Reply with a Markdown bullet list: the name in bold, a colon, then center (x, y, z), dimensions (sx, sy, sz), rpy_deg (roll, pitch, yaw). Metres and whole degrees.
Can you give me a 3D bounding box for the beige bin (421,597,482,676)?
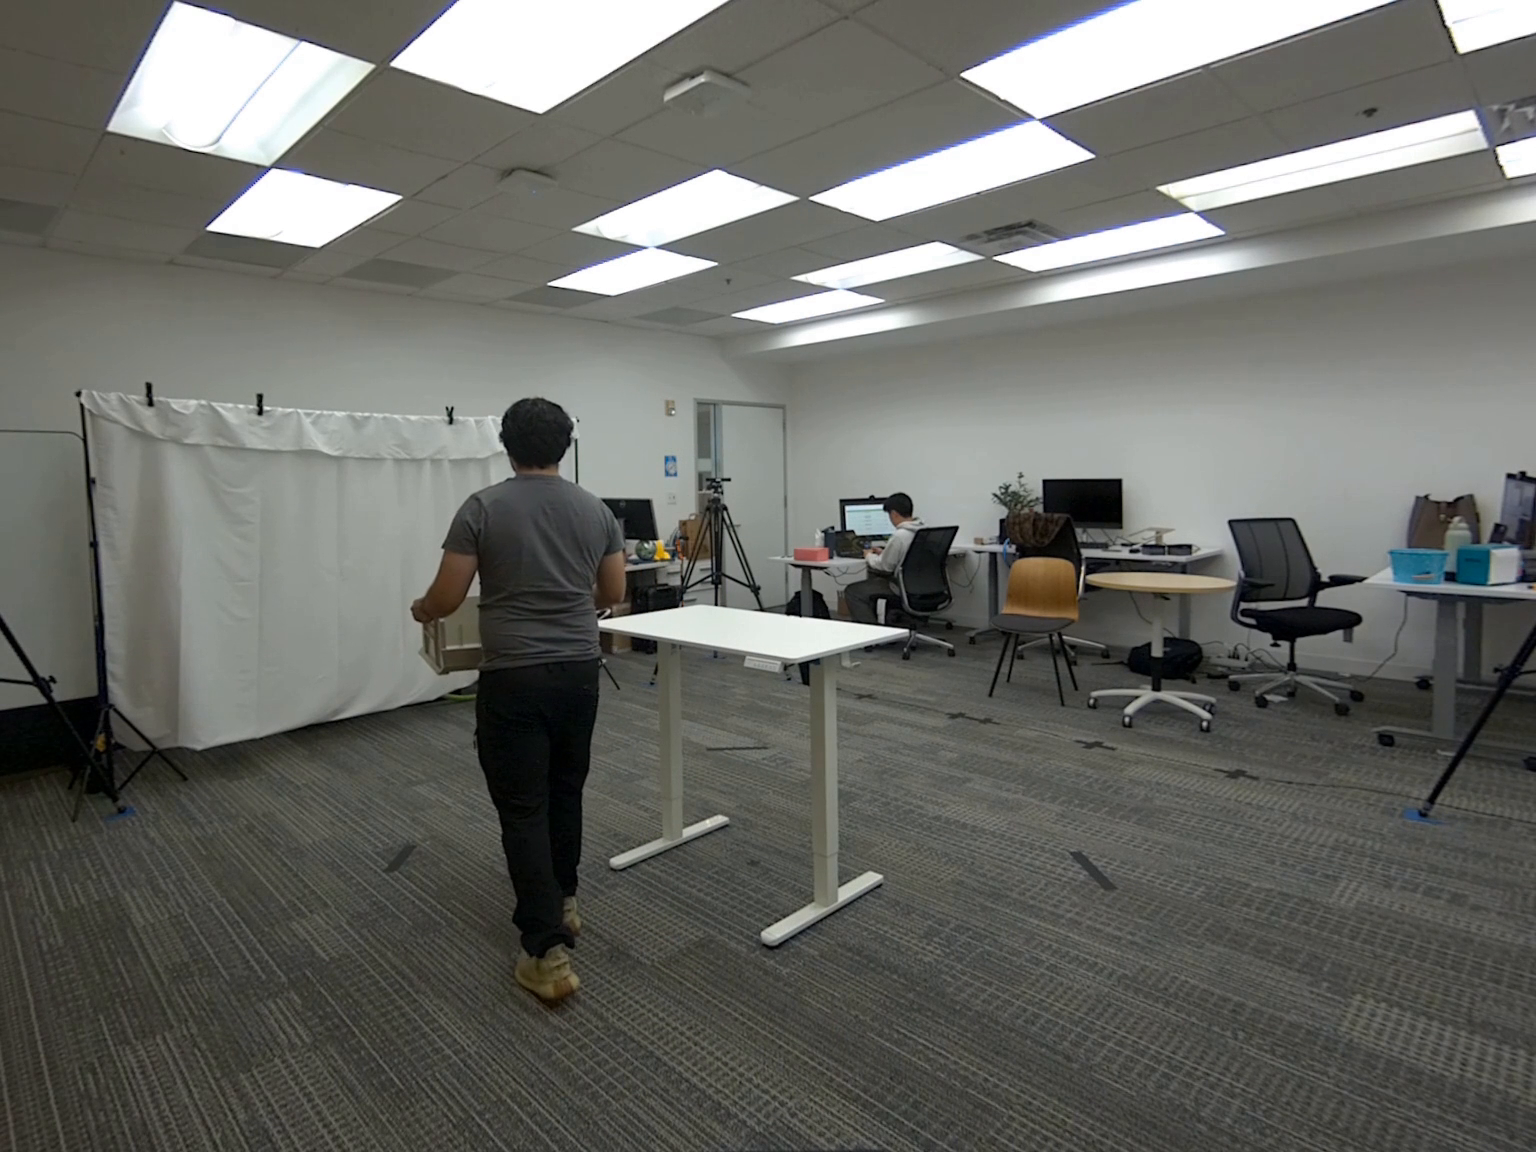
- **beige bin**: center (-0.883, 0.184, 2.780), dimensions (0.412, 0.188, 0.388), rpy_deg (-4, 8, -29)
